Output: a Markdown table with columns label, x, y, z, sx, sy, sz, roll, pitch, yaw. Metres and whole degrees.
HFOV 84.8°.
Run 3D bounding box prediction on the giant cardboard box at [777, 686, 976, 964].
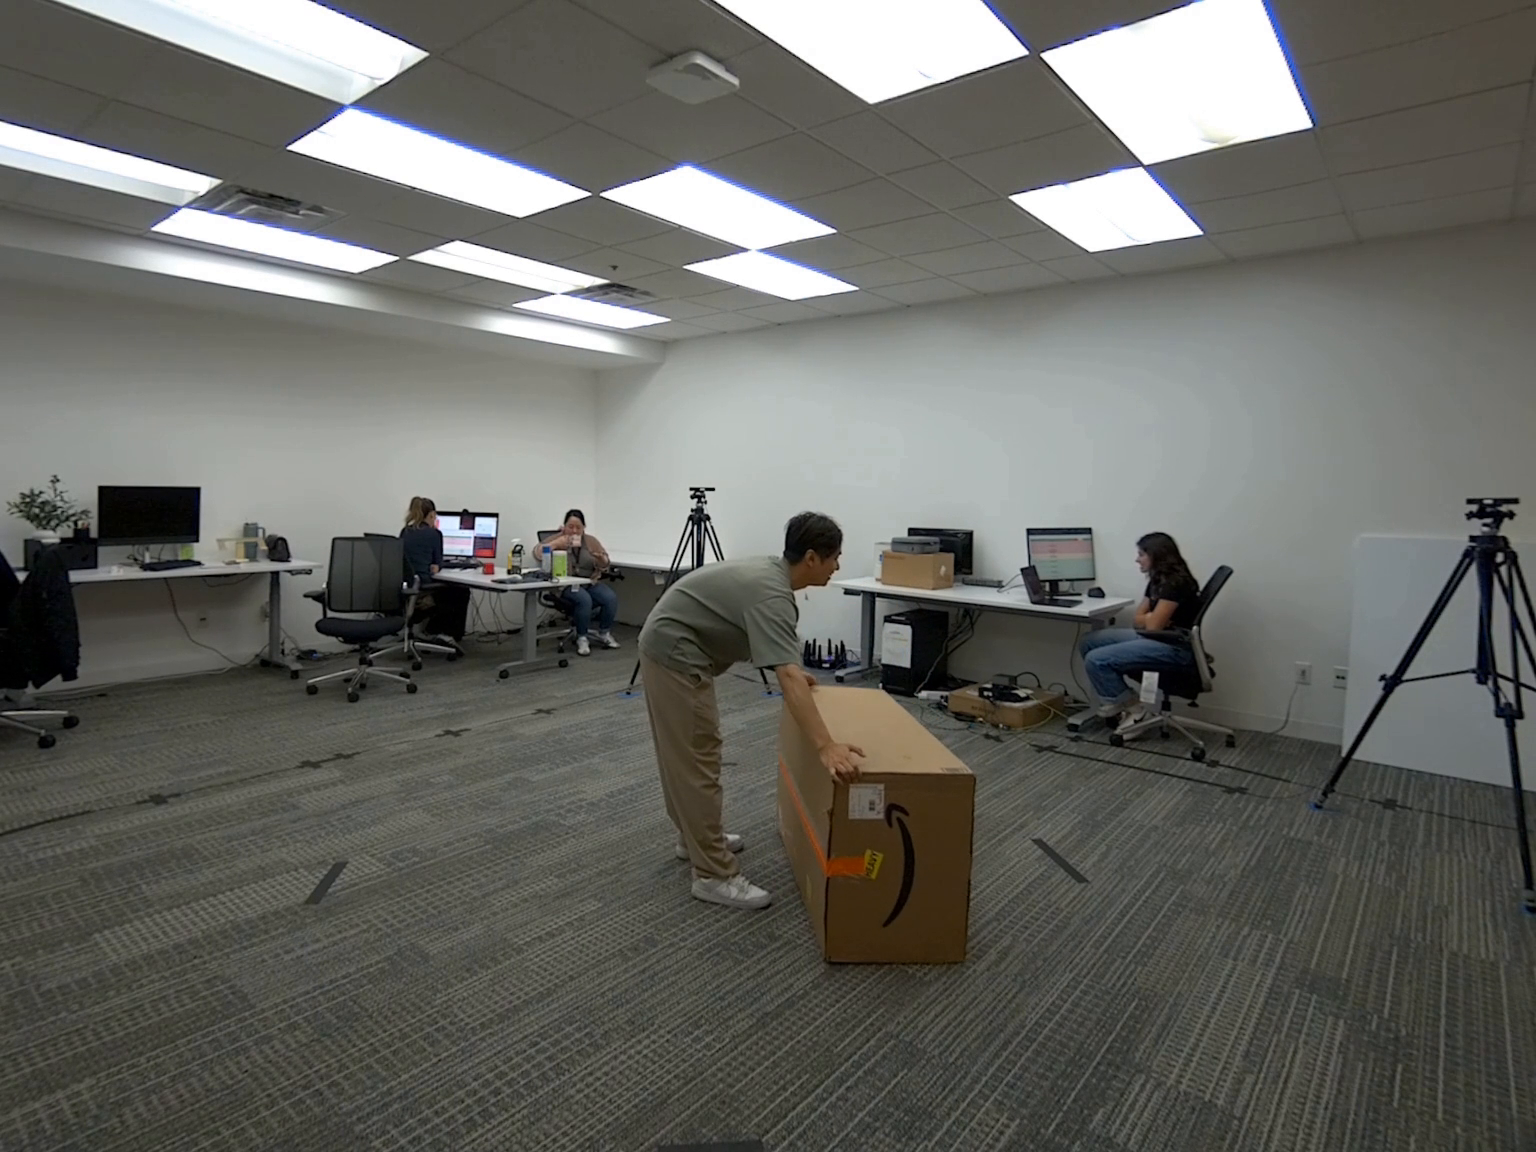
| label | x | y | z | sx | sy | sz | roll | pitch | yaw |
| --- | --- | --- | --- | --- | --- | --- | --- | --- | --- |
| giant cardboard box | 0.320 | 0.791 | 2.994 | 0.423 | 0.575 | 1.037 | 1 | 6 | -7 |
